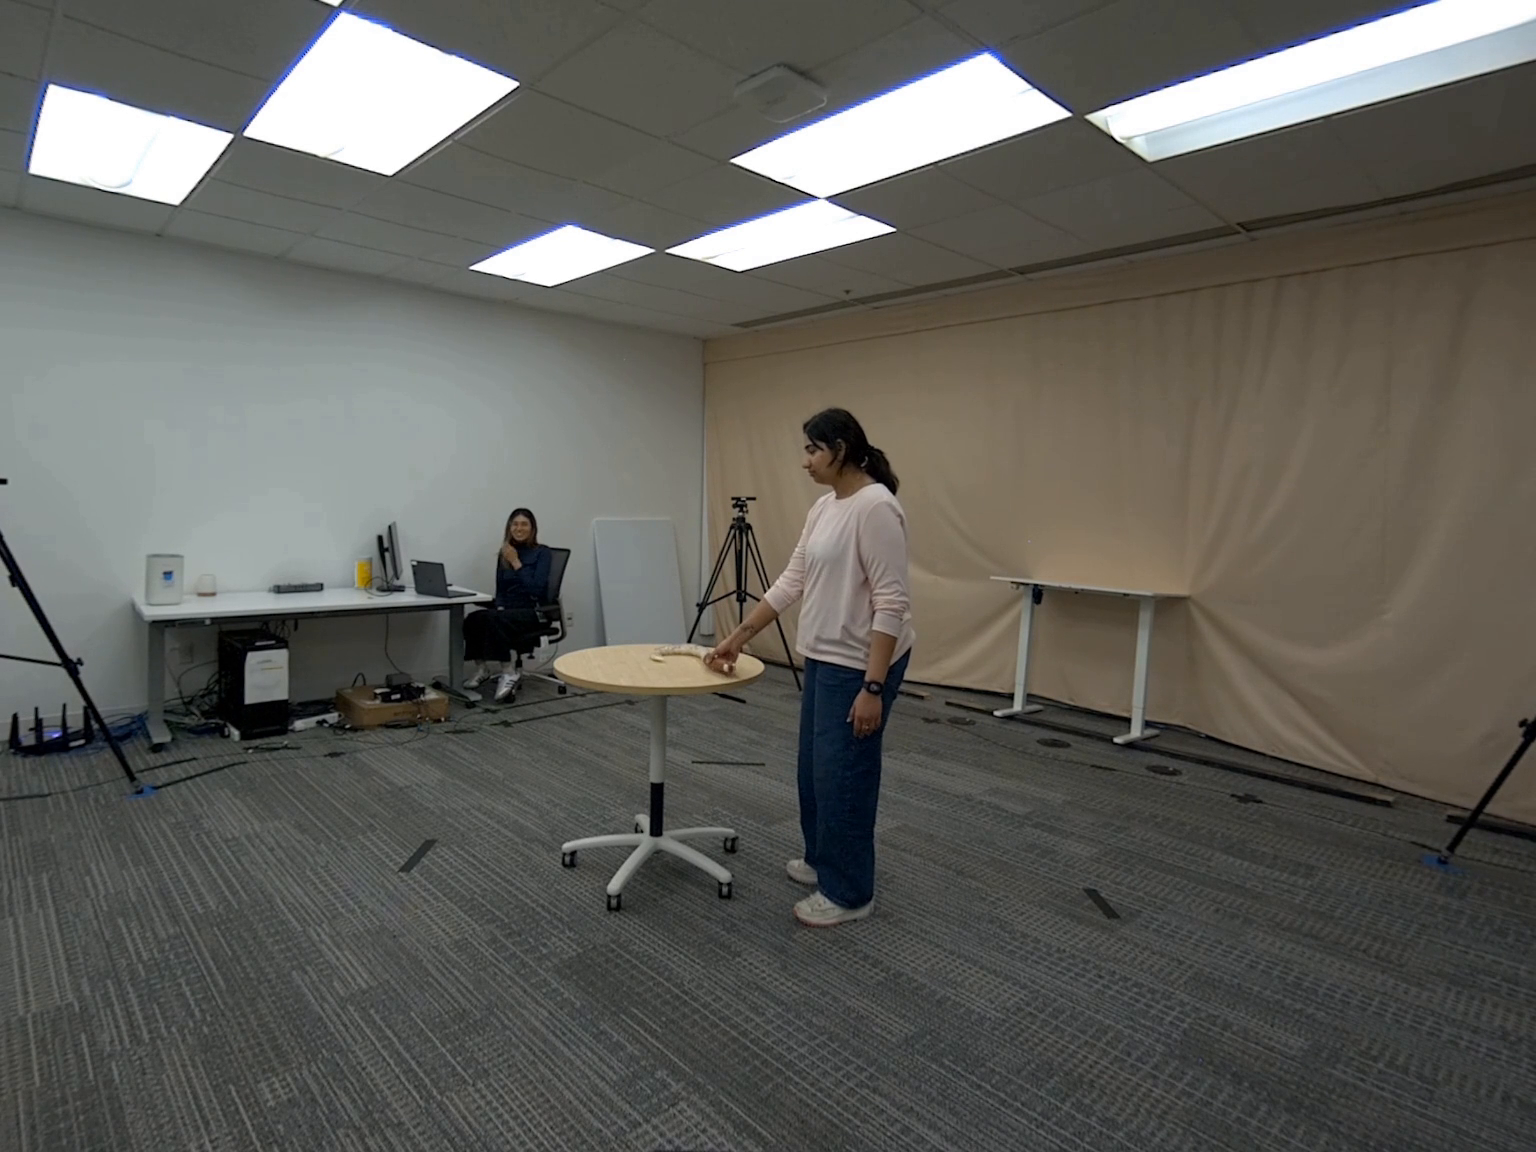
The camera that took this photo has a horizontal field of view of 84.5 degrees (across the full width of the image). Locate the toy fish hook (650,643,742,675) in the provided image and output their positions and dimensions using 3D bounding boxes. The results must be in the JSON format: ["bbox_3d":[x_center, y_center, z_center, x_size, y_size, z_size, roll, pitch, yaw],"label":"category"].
[{"bbox_3d":[-0.284,0.308,3.052,0.221,0.048,0.516,-7,6,-24],"label":"toy fish hook"}]
